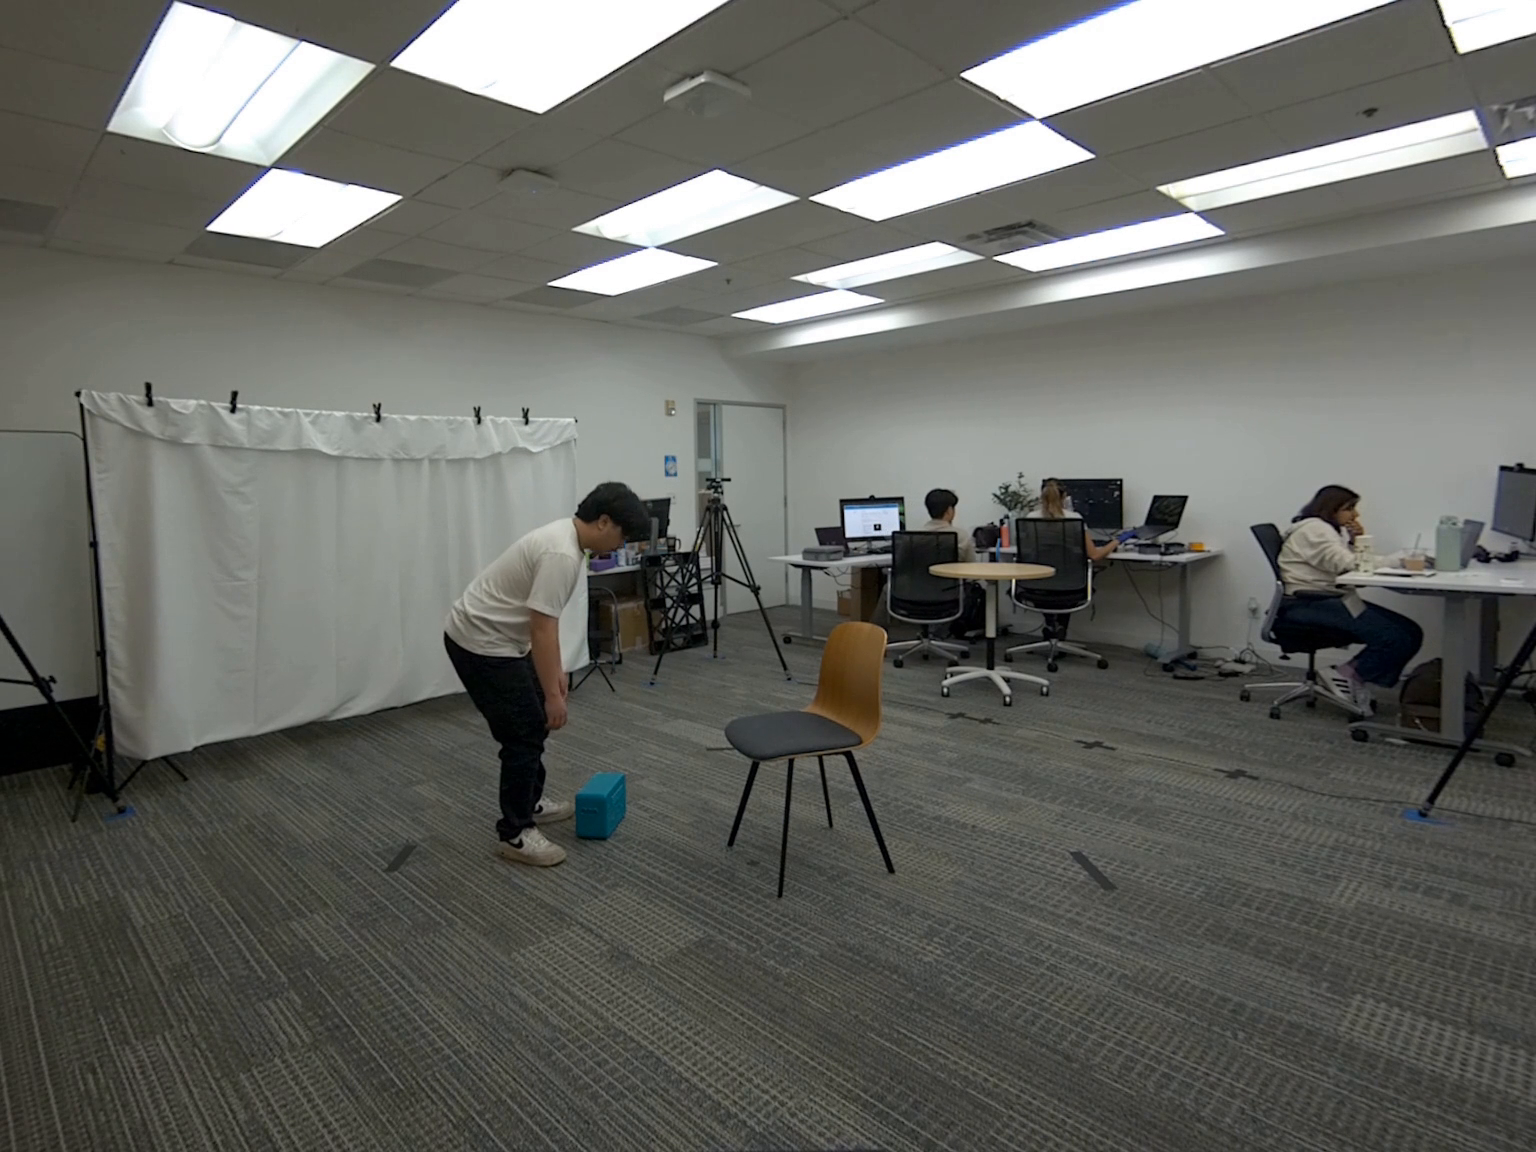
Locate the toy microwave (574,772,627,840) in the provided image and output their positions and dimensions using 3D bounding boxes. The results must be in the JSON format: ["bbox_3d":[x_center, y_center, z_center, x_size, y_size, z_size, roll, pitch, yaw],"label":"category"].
[{"bbox_3d":[-0.679,0.922,3.452,0.154,0.183,0.285,2,6,7],"label":"toy microwave"}]
